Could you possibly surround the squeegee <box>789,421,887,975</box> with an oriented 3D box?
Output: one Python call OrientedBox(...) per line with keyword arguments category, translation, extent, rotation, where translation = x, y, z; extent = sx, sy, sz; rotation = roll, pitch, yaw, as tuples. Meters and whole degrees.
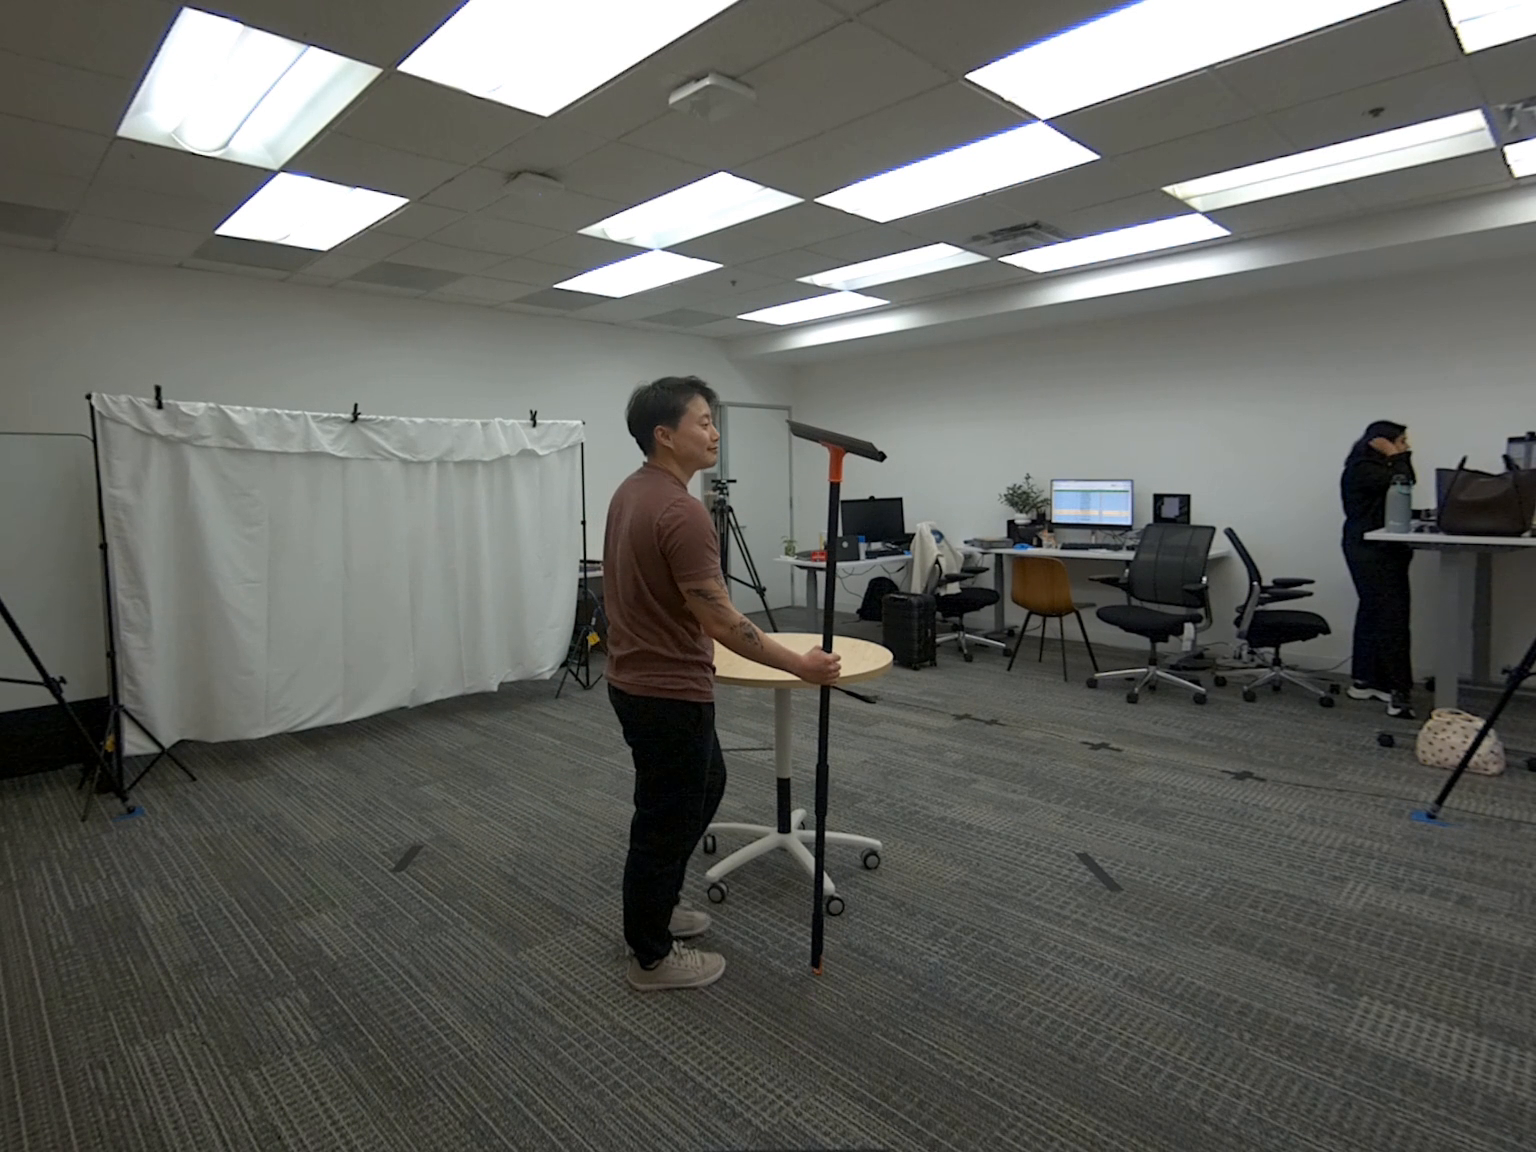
OrientedBox(category="squeegee", translation=(0.150, 0.385, 2.249), extent=(0.052, 1.517, 0.451), rotation=(-5, 16, -21))
